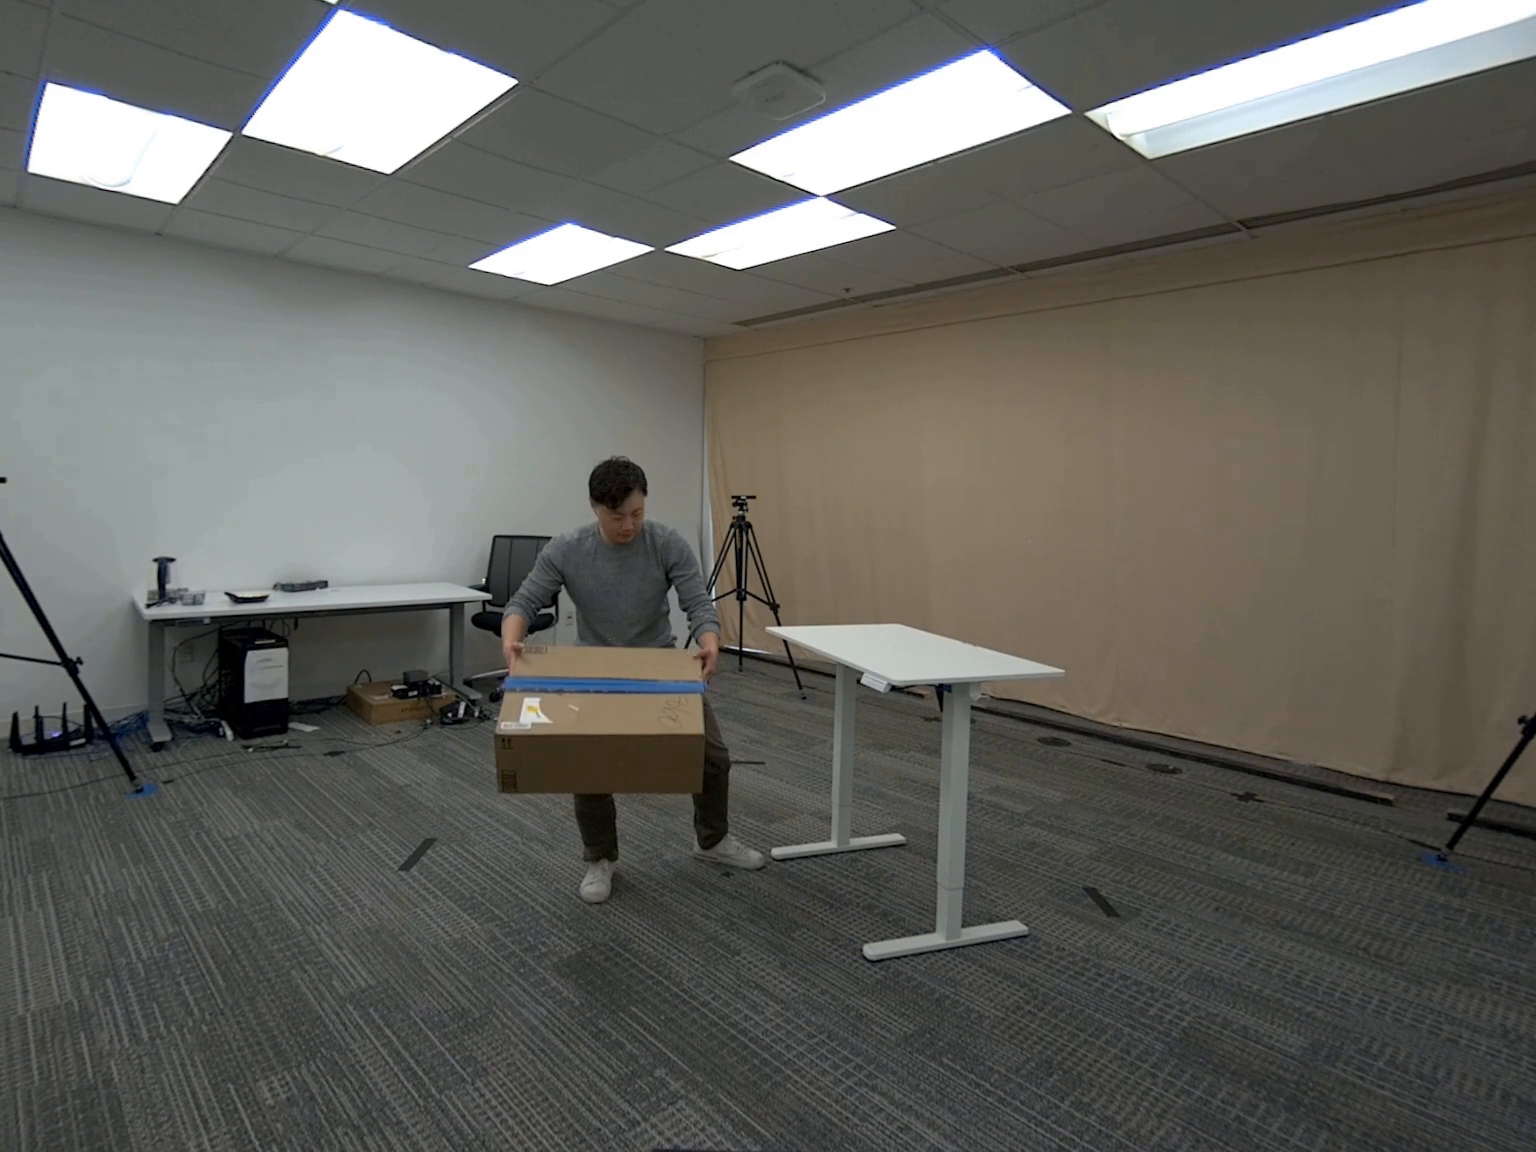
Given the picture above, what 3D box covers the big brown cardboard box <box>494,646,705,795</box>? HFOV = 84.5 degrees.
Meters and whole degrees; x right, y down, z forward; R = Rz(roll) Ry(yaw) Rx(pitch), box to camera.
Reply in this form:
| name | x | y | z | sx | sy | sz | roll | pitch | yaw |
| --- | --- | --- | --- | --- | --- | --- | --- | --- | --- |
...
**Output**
| name | x | y | z | sx | sy | sz | roll | pitch | yaw |
| --- | --- | --- | --- | --- | --- | --- | --- | --- | --- |
| big brown cardboard box | -0.490 | 0.416 | 2.477 | 0.585 | 0.229 | 0.426 | 2 | 26 | -7 |
